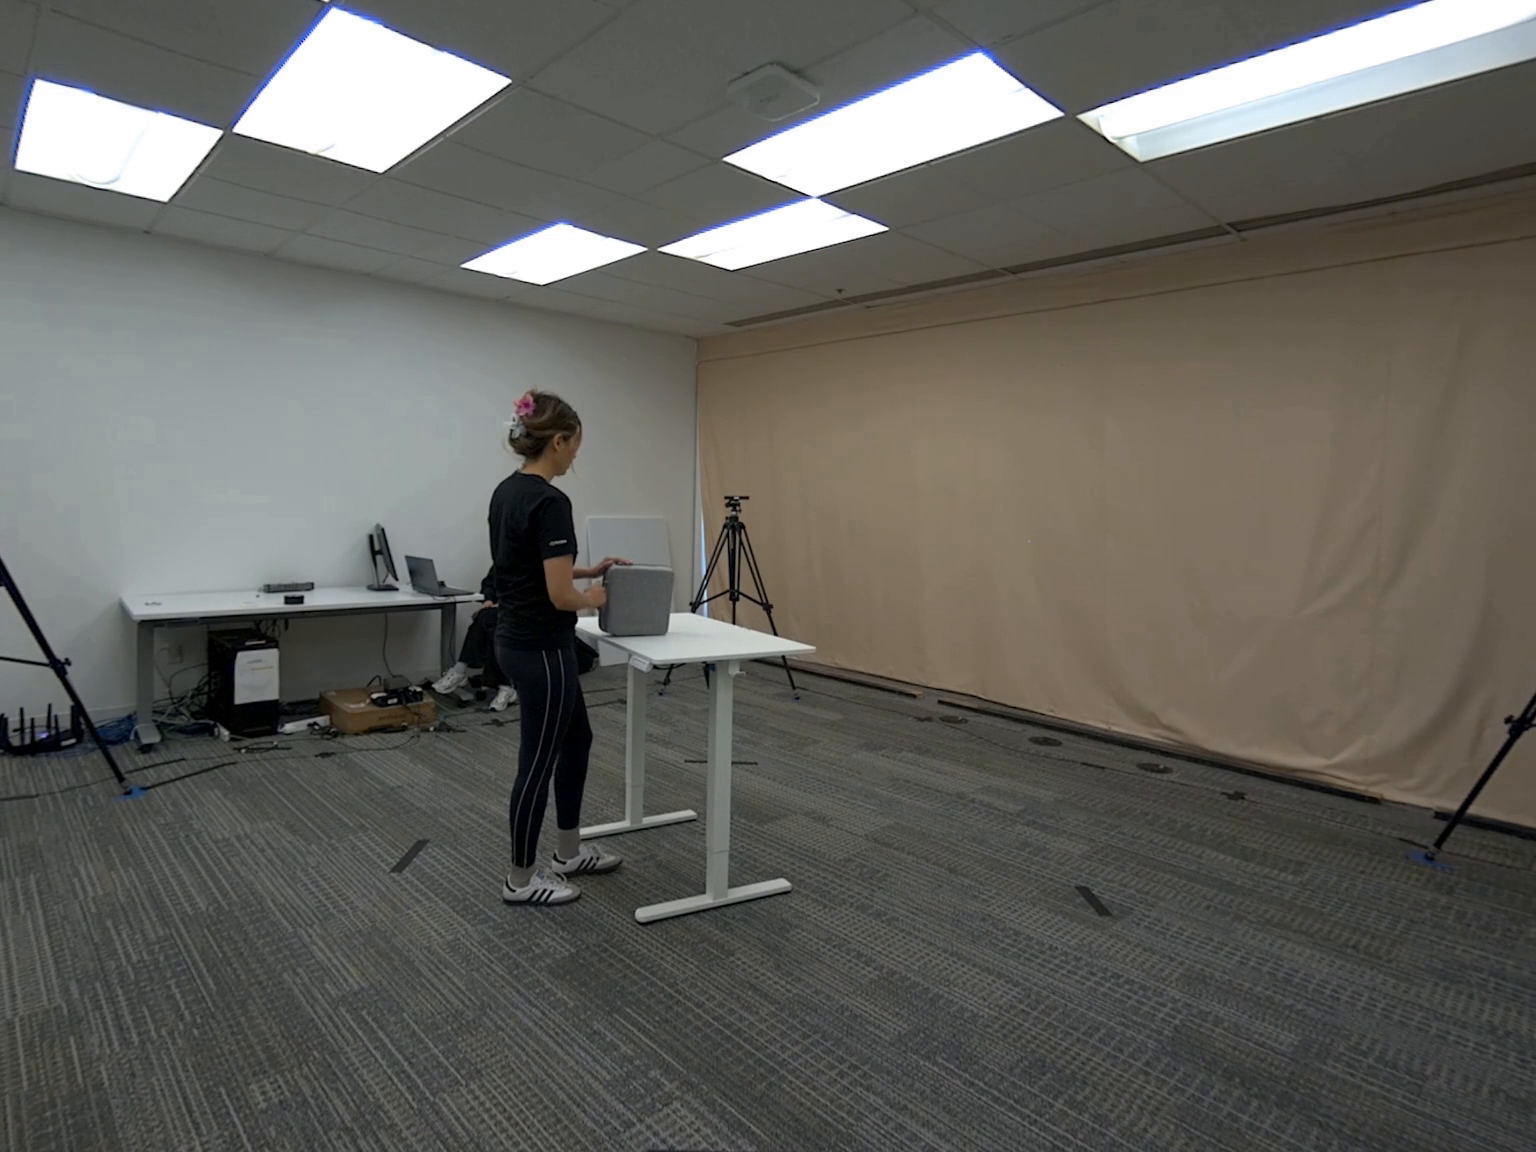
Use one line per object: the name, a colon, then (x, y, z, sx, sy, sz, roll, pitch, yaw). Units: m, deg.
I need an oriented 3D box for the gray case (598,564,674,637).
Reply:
gray case: (-0.483, 0.082, 3.051, 0.255, 0.256, 0.107, 3, 5, -27)
